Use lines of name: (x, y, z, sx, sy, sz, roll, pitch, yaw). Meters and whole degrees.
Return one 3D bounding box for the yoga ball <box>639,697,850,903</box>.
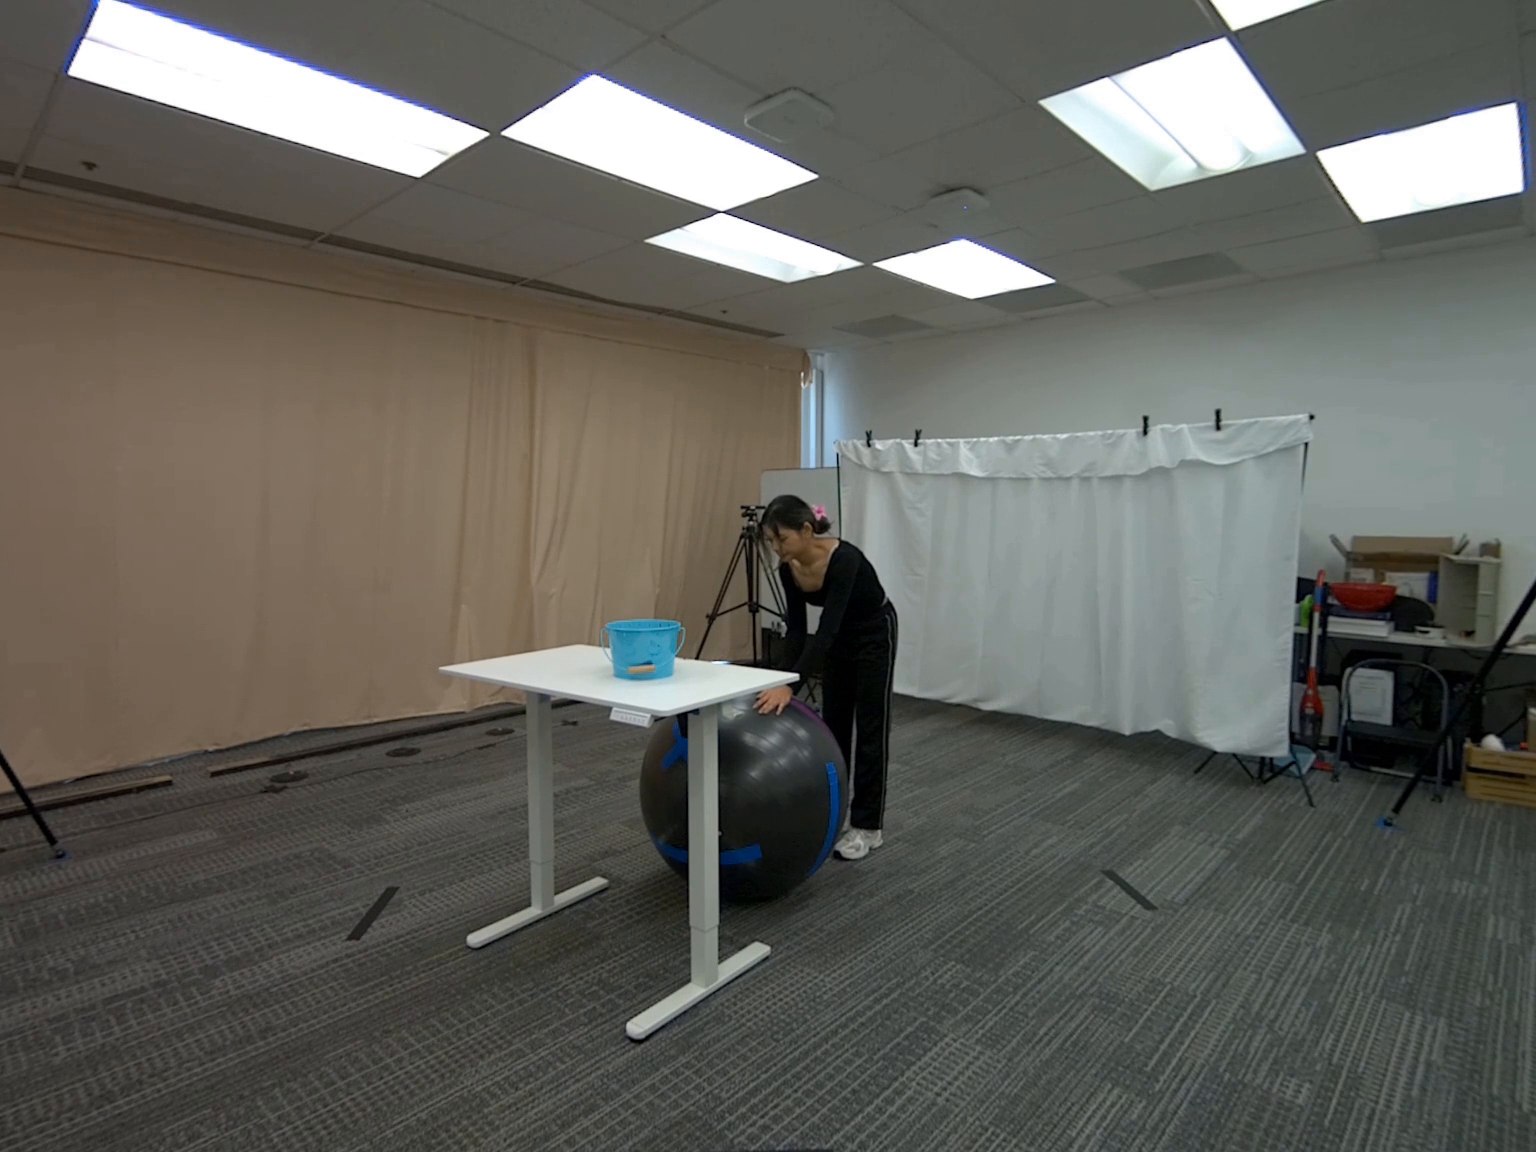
yoga ball: (-0.093, 0.777, 3.069, 0.757, 0.756, 0.761, 0, 4, -2)
